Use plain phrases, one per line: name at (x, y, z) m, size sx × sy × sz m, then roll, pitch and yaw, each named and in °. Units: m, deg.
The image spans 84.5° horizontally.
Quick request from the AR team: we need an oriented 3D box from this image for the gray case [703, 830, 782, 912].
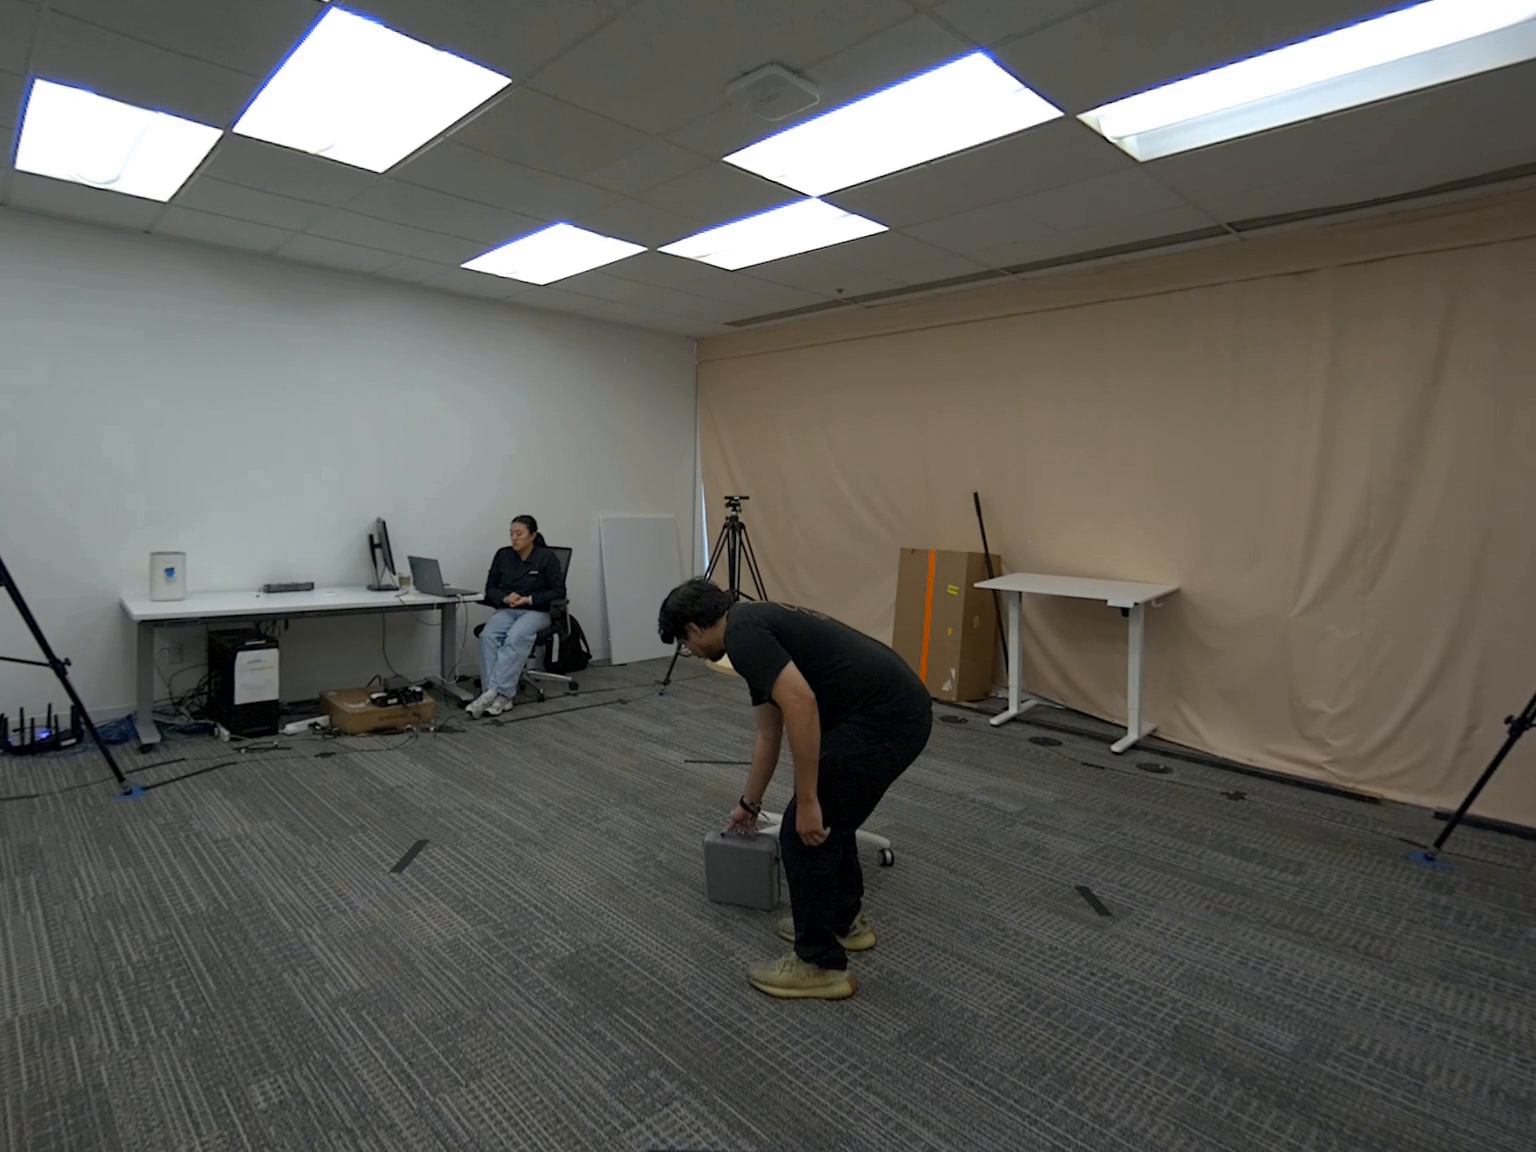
gray case at (-0.091, 0.995, 2.873) m, size 0.261 × 0.258 × 0.104 m, roll 3°, pitch 15°, yaw 19°
